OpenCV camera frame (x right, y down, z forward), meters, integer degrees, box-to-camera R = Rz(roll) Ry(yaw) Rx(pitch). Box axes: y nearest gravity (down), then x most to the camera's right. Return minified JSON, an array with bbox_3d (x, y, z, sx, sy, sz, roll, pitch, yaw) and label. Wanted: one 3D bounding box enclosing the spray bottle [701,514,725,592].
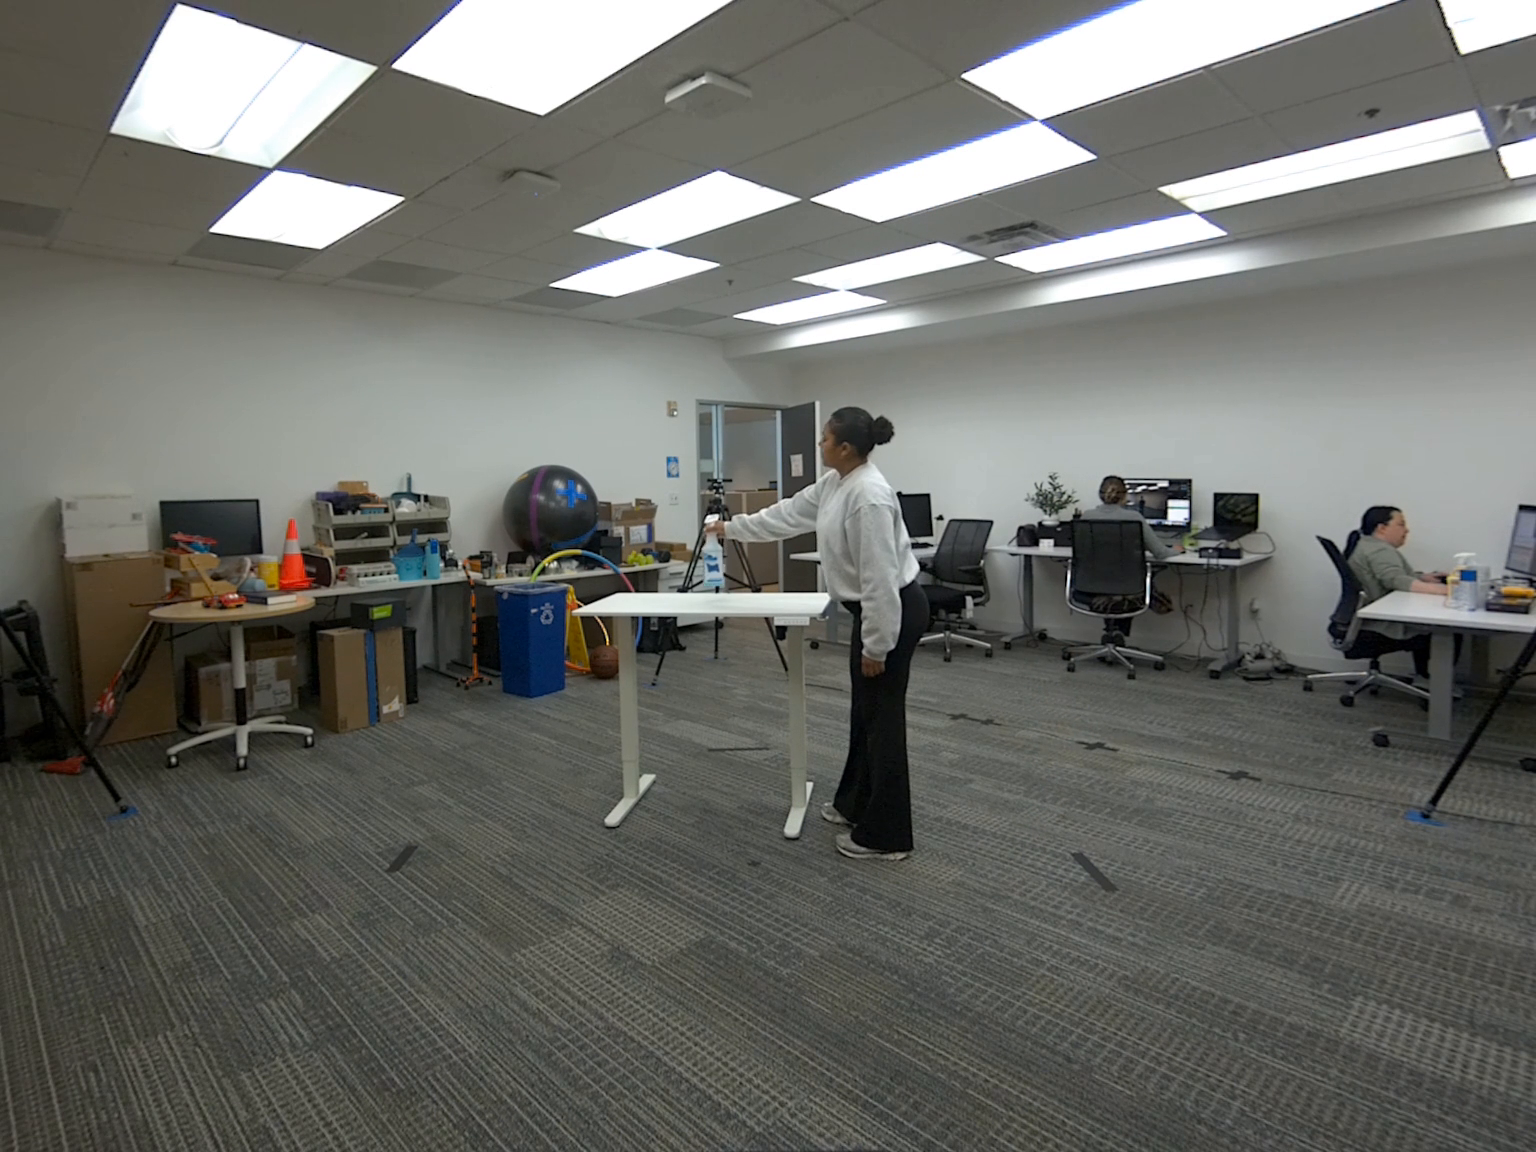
[{"bbox_3d":[-0.230,-0.109,3.591,0.088,0.296,0.089,-2,5,-31],"label":"spray bottle"}]
